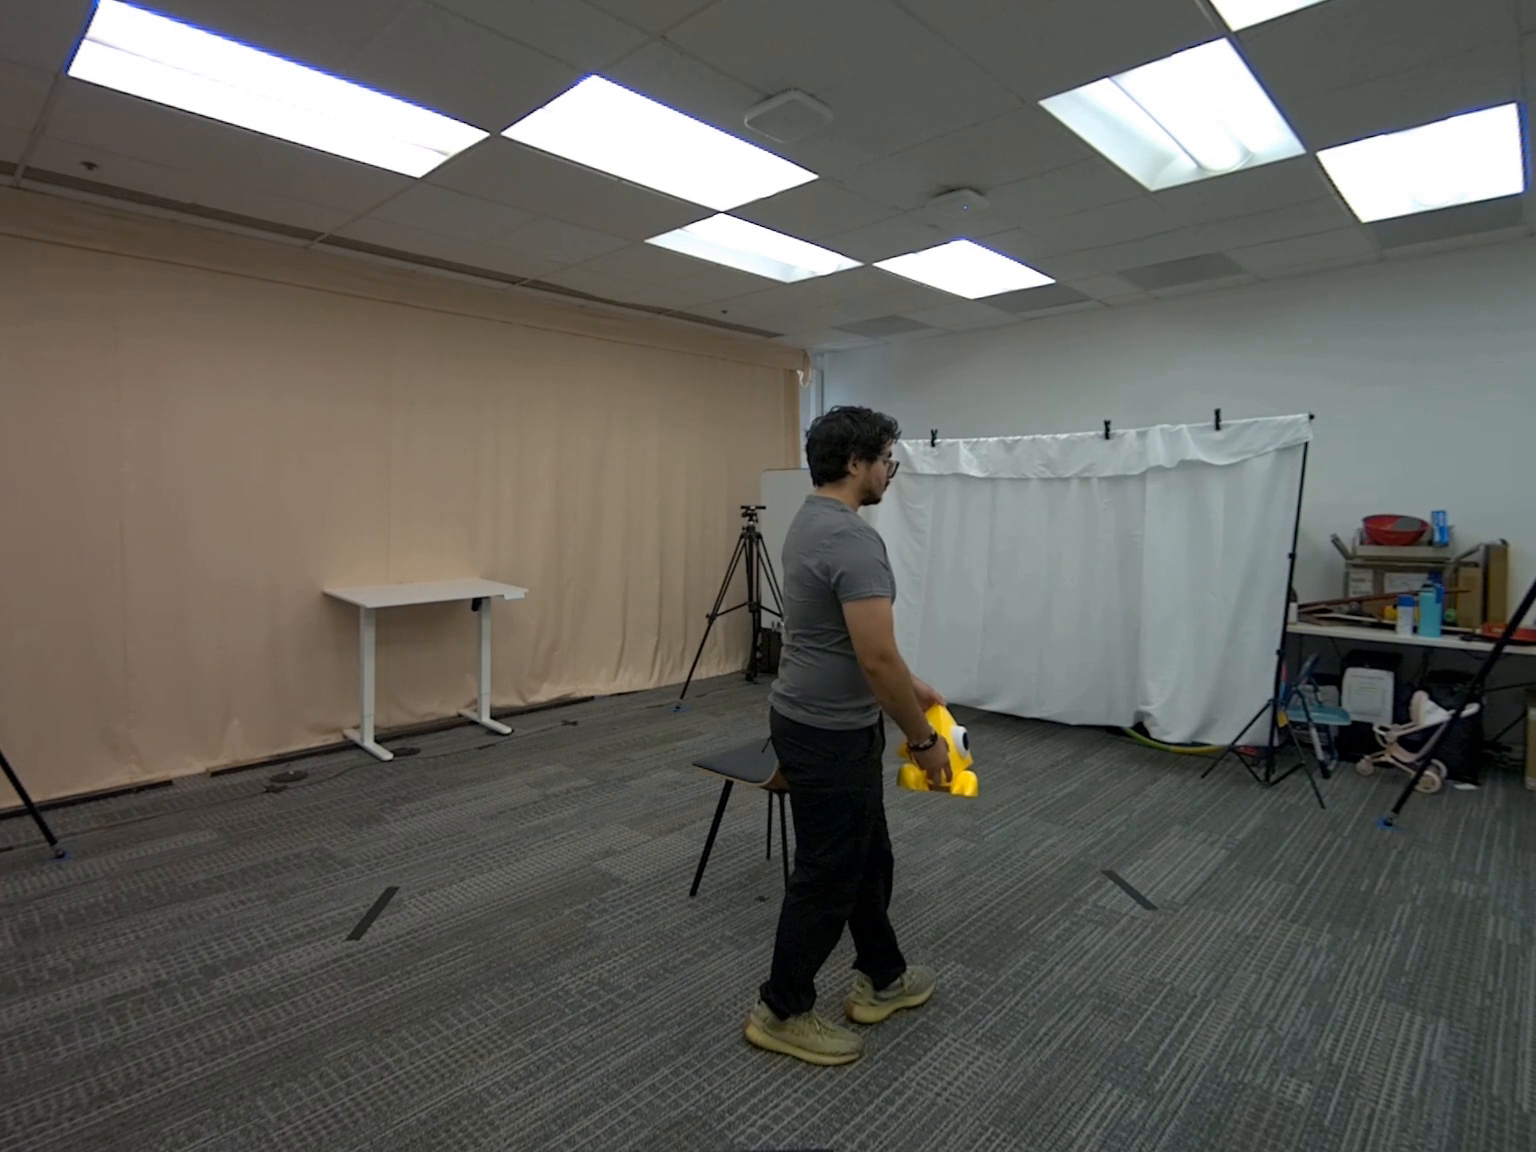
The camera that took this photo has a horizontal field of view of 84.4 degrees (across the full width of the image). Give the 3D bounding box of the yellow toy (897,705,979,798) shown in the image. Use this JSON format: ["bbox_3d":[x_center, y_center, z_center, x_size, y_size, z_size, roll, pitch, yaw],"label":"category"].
[{"bbox_3d":[0.460,0.440,2.168,0.206,0.232,0.190,5,-11,6],"label":"yellow toy"}]
